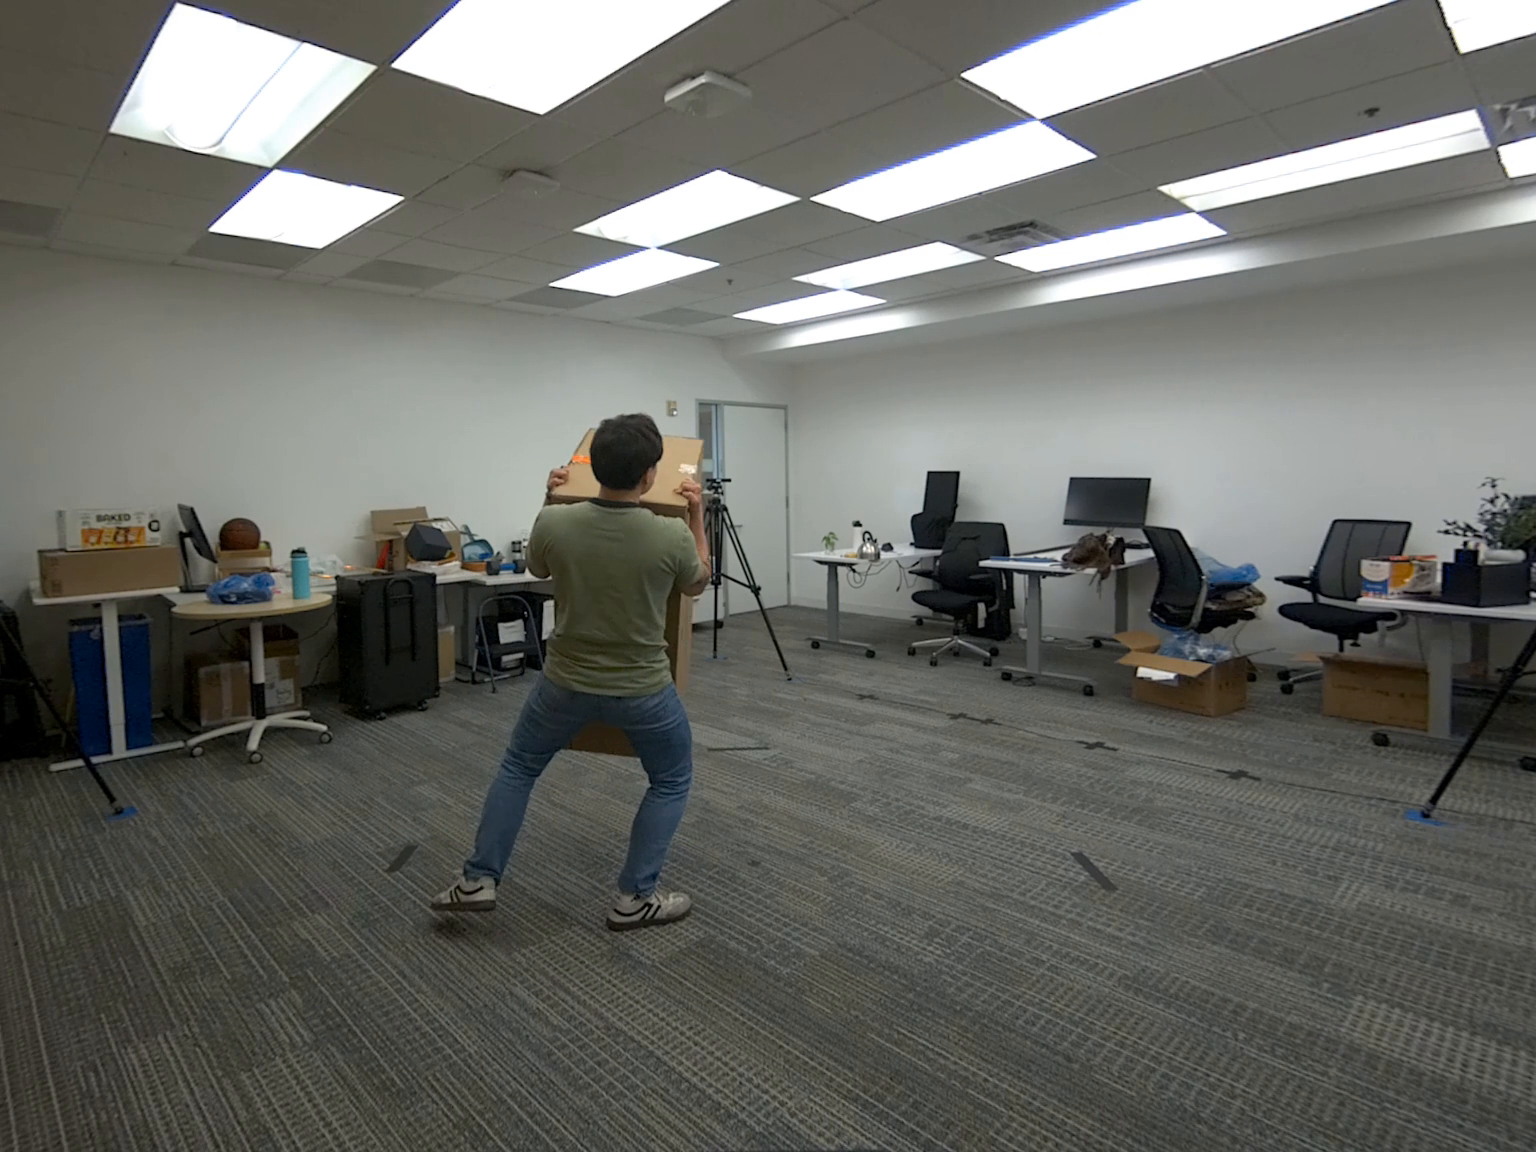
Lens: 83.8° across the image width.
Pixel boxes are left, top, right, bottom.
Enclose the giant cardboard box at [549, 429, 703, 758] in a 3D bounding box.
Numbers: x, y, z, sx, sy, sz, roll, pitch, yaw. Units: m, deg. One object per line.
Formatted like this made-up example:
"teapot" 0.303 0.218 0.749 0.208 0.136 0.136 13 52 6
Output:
"giant cardboard box" -0.503 0.073 3.085 0.426 1.005 0.589 6 28 -1
